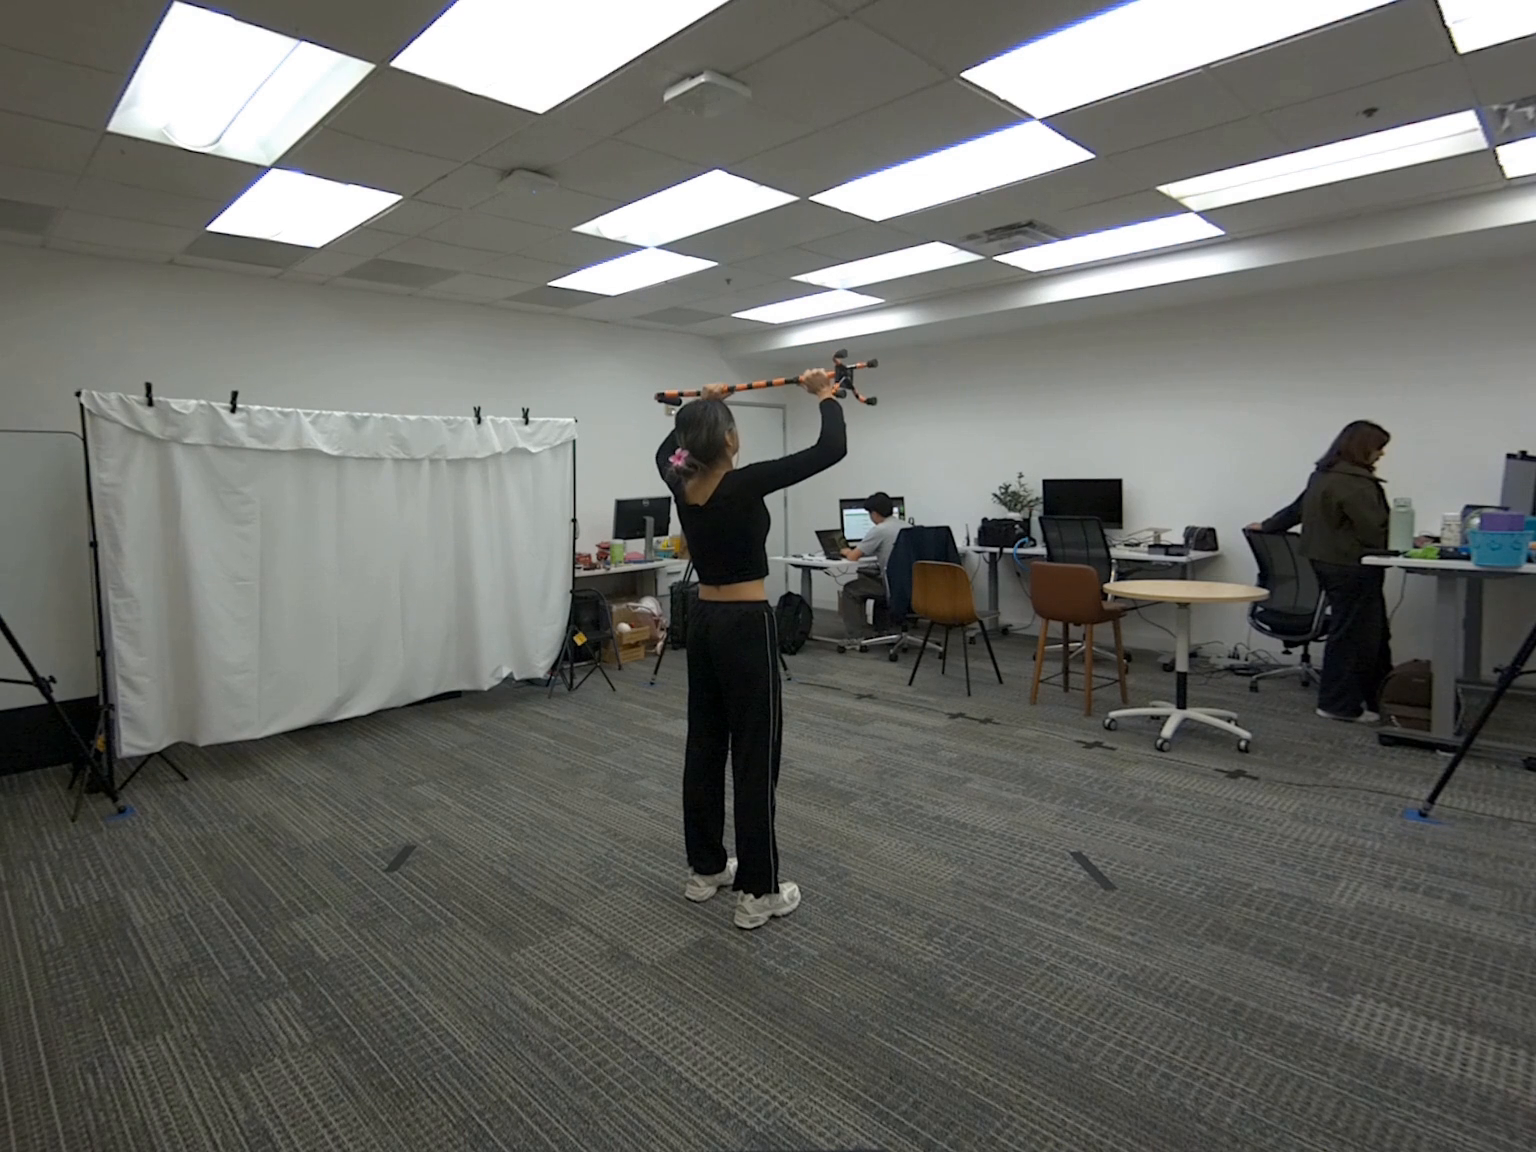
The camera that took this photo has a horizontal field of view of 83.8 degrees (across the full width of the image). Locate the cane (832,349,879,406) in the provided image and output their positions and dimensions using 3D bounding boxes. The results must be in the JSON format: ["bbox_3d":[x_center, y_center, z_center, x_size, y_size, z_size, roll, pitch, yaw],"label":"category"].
[{"bbox_3d":[-0.063,-0.647,2.979,0.936,0.151,0.201,4,4,41],"label":"cane"}]
